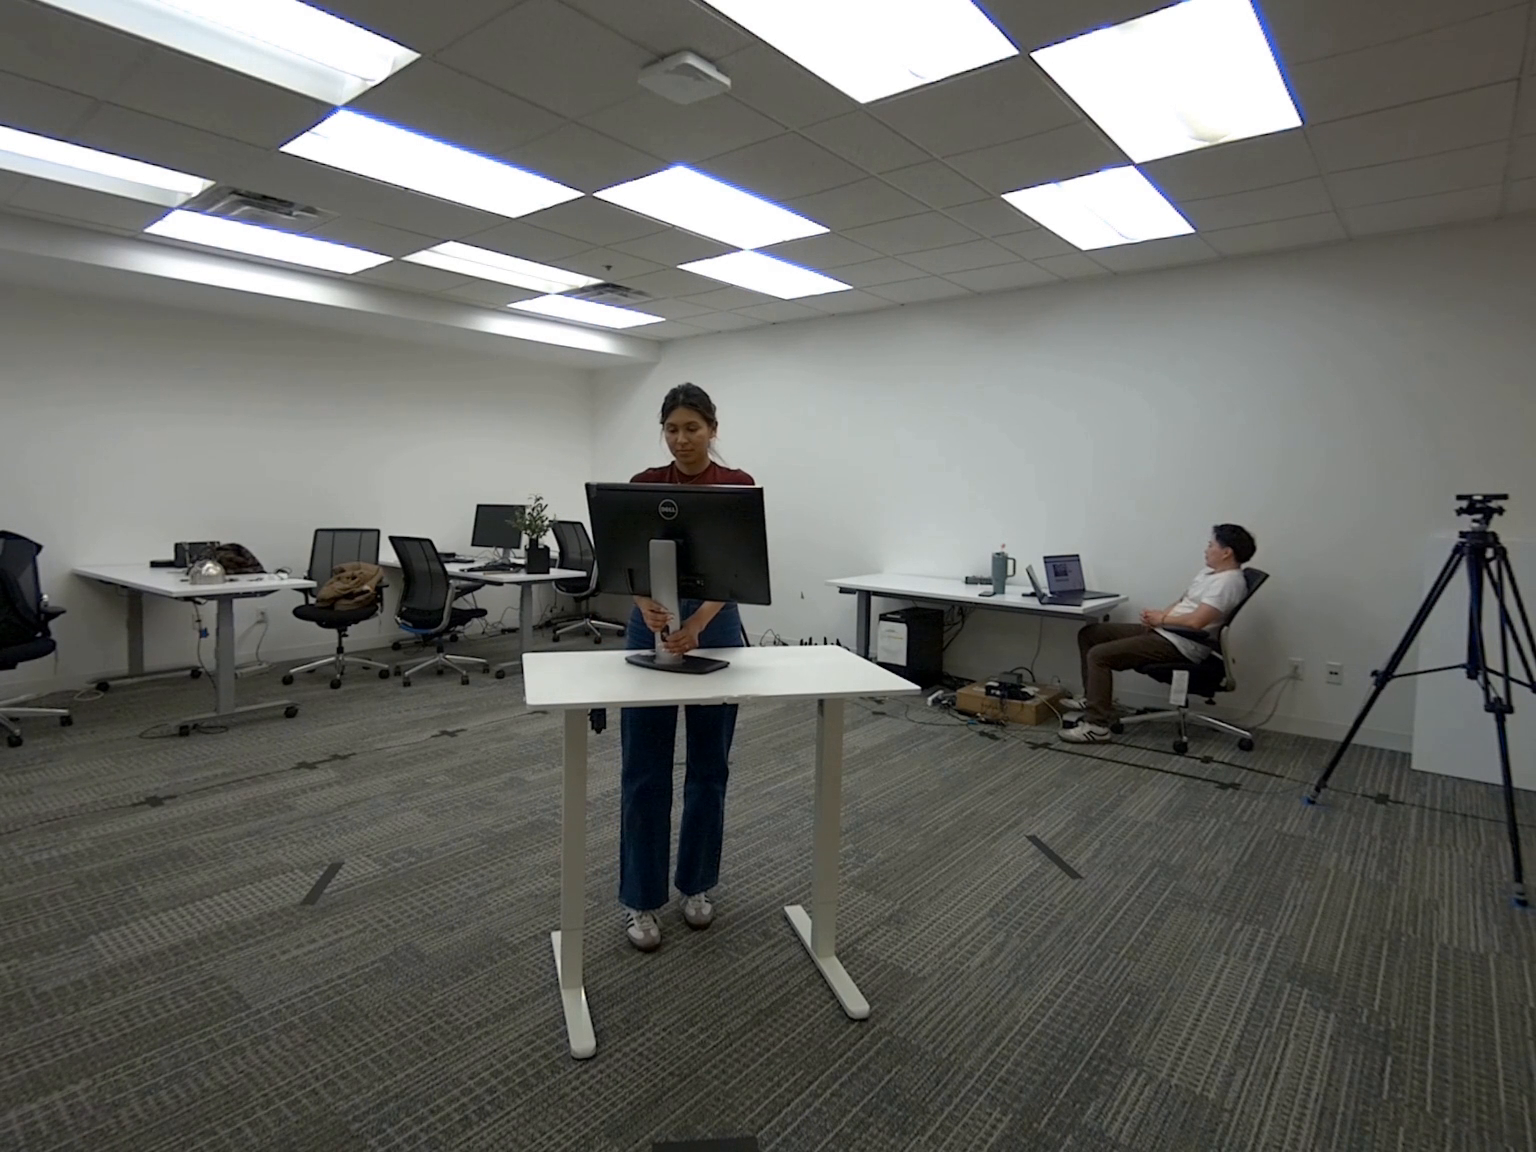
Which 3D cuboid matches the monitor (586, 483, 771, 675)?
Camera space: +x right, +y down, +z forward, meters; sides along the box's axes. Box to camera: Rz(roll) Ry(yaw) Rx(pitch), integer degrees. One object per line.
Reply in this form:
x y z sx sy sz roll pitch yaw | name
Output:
-0.283 0.000 2.407 0.549 0.519 0.185 2 7 17 | monitor
